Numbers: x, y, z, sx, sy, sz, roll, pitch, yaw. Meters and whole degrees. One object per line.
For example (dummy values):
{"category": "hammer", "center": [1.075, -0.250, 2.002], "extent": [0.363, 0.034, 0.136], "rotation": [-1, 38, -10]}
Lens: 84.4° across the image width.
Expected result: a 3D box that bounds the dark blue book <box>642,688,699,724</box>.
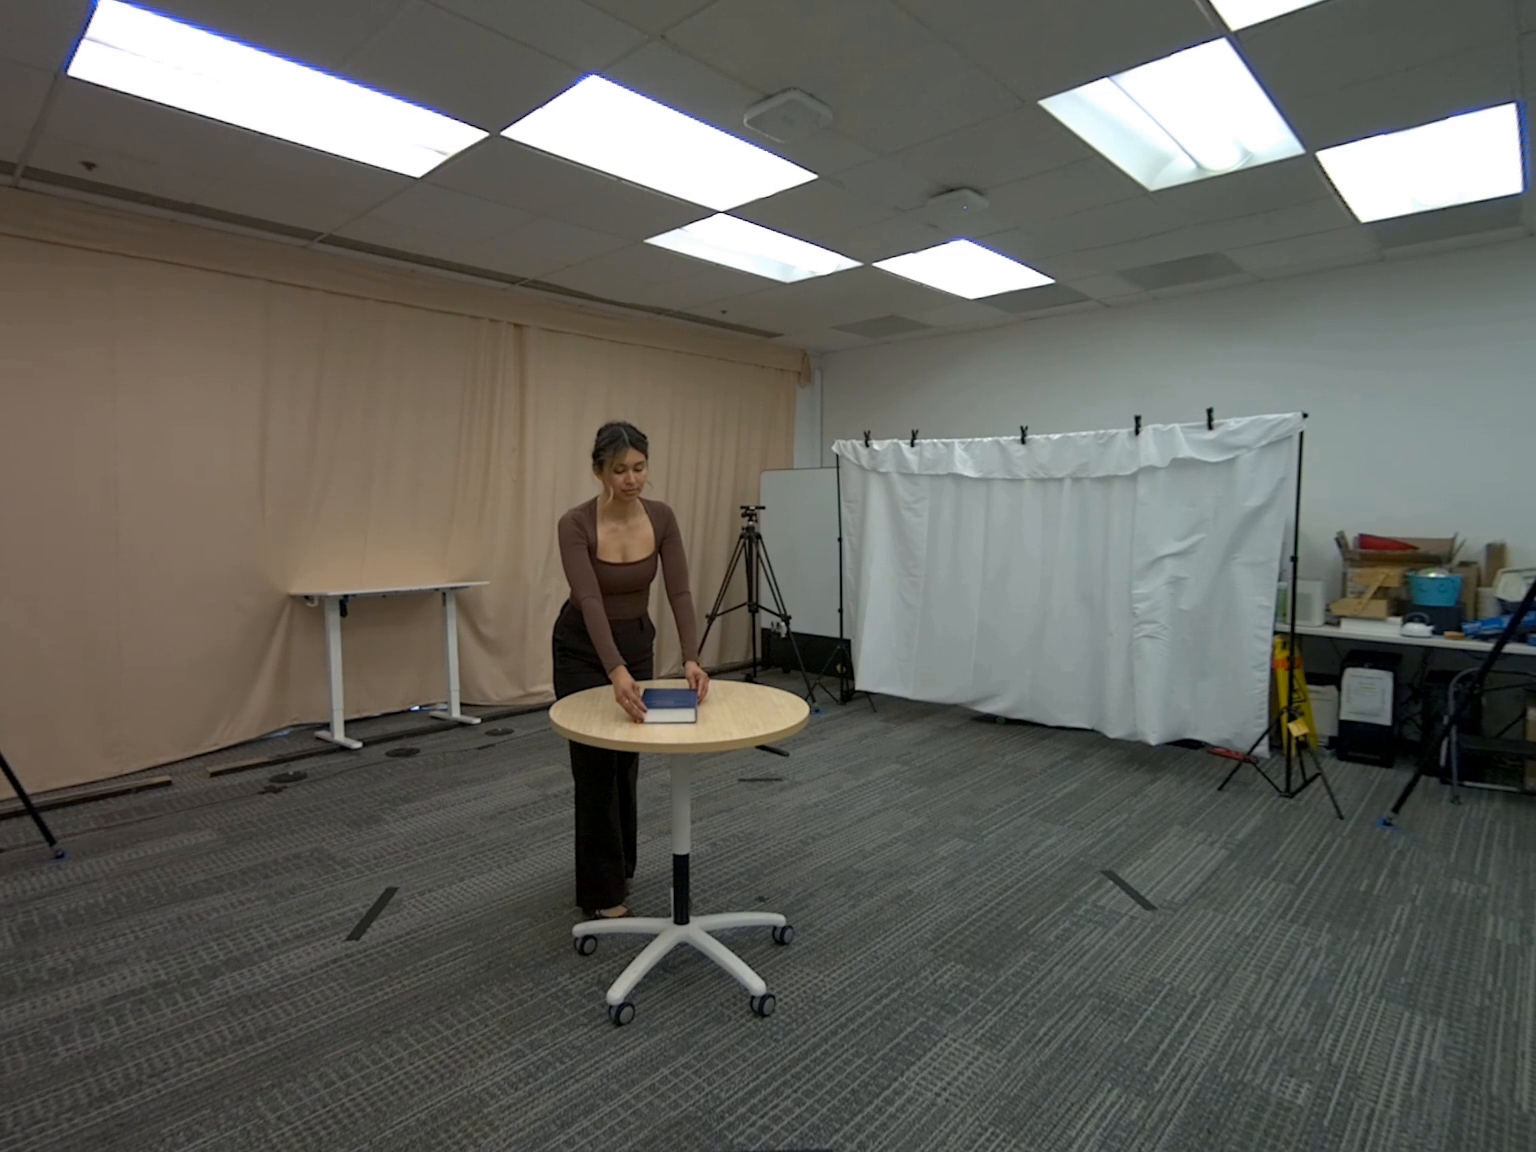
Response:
{"category": "dark blue book", "center": [-0.271, 0.381, 2.418], "extent": [0.163, 0.045, 0.246], "rotation": [-1, 5, -4]}
